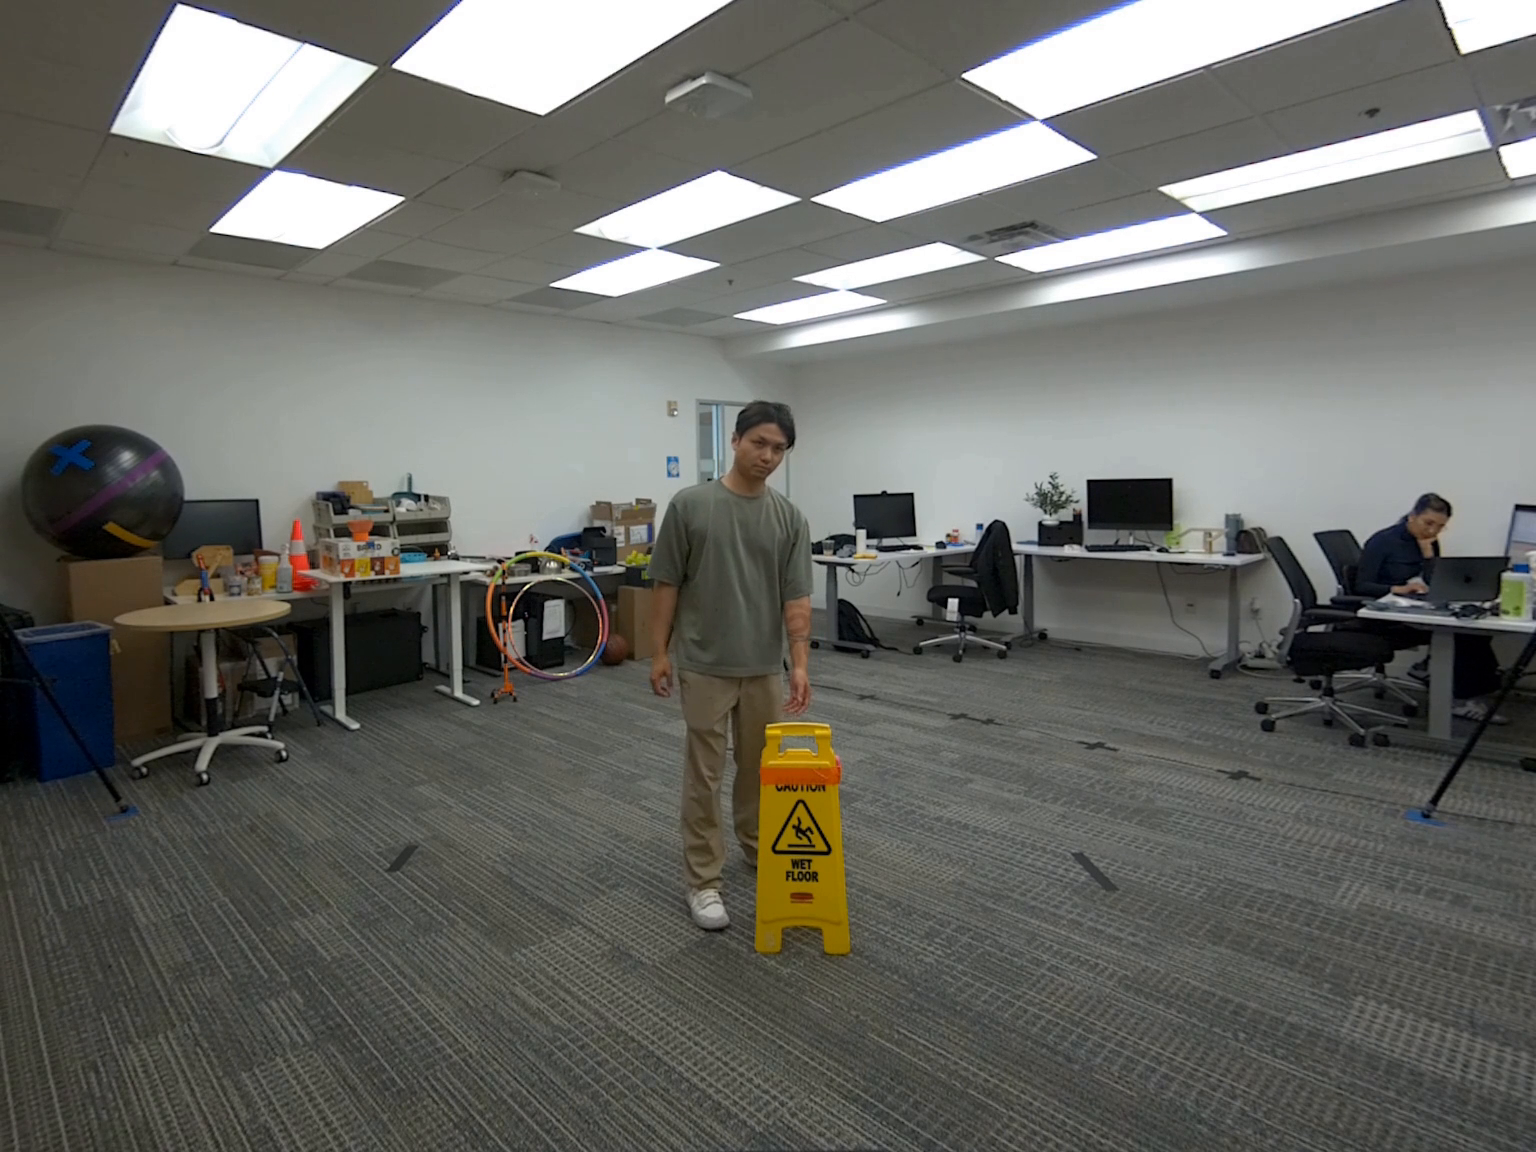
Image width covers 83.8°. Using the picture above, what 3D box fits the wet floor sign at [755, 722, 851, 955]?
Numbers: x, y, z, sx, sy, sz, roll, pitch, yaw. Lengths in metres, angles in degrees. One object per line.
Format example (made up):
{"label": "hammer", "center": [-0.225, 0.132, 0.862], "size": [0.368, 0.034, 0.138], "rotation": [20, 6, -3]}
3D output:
{"label": "wet floor sign", "center": [0.106, 0.770, 2.612], "size": [0.282, 0.644, 0.290], "rotation": [0, 4, 0]}
